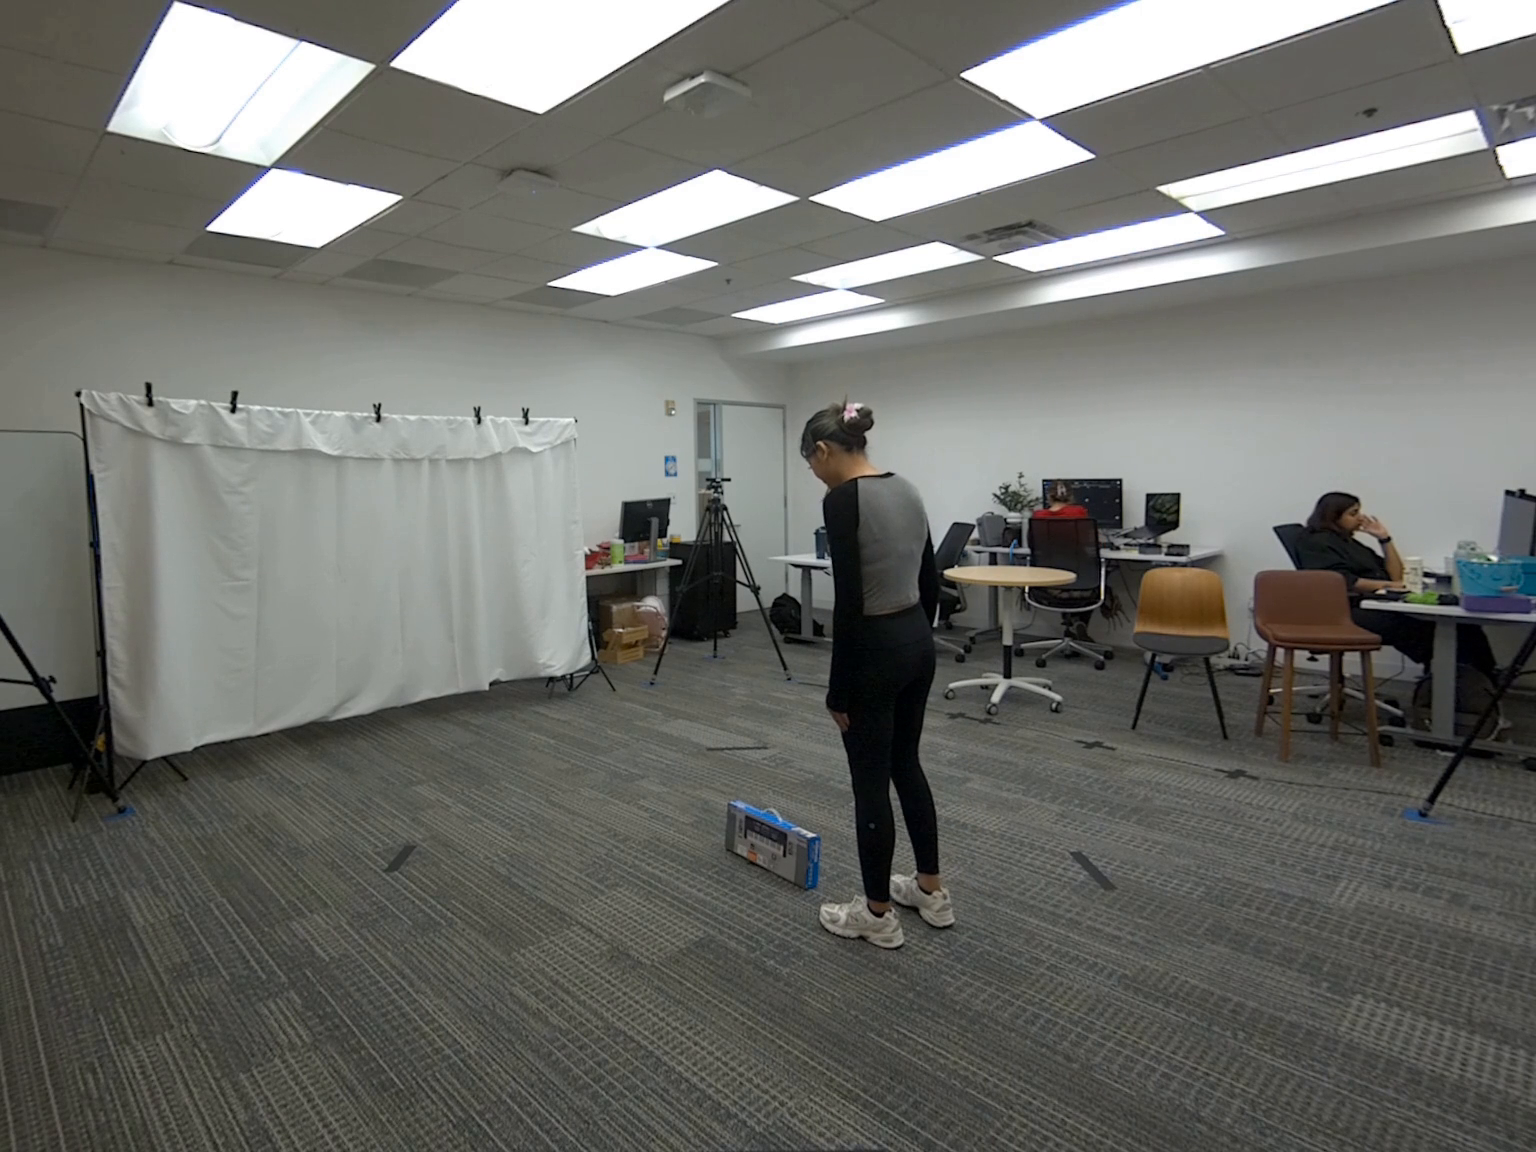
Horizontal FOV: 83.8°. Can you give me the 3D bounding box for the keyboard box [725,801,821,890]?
[{"bbox_3d":[0.011,0.960,3.069,0.057,0.176,0.450,4,1,-41],"label":"keyboard box"}]
